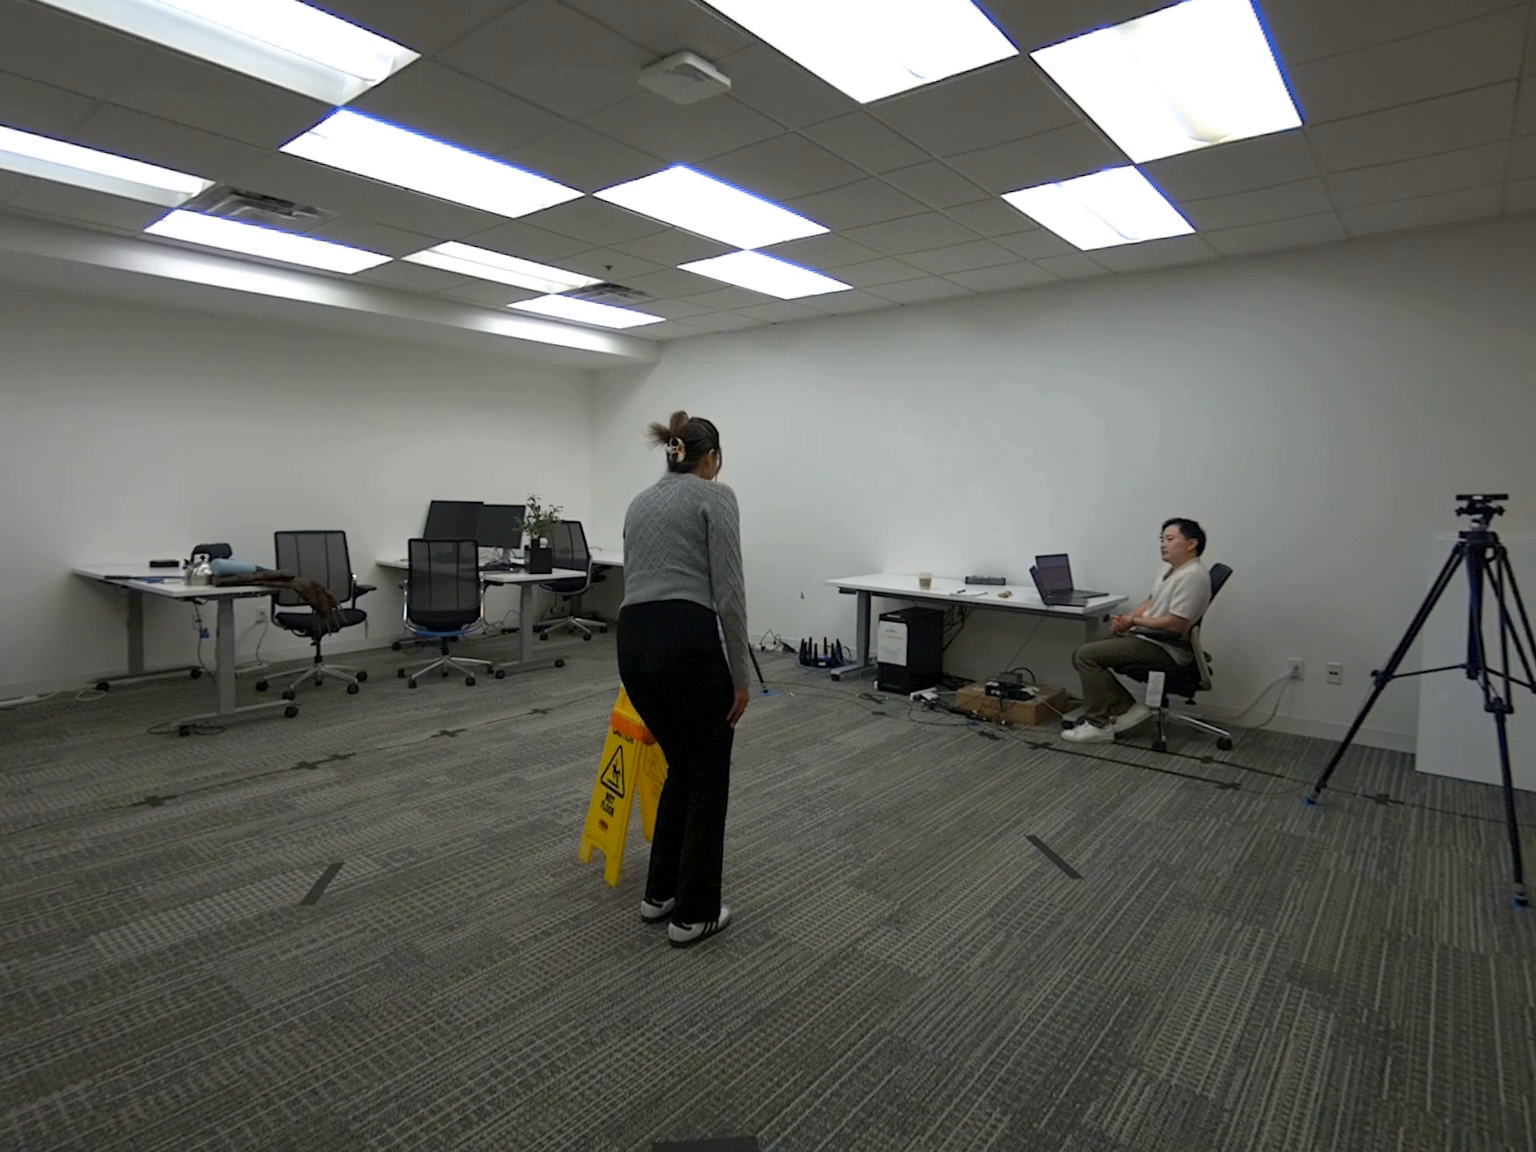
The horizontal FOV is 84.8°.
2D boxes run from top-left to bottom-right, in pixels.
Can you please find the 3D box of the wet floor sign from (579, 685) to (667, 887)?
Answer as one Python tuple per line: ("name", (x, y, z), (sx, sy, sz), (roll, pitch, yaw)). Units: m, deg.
("wet floor sign", (-0.481, 0.695, 3.013), (0.281, 0.643, 0.292), (-1, 6, -38))
